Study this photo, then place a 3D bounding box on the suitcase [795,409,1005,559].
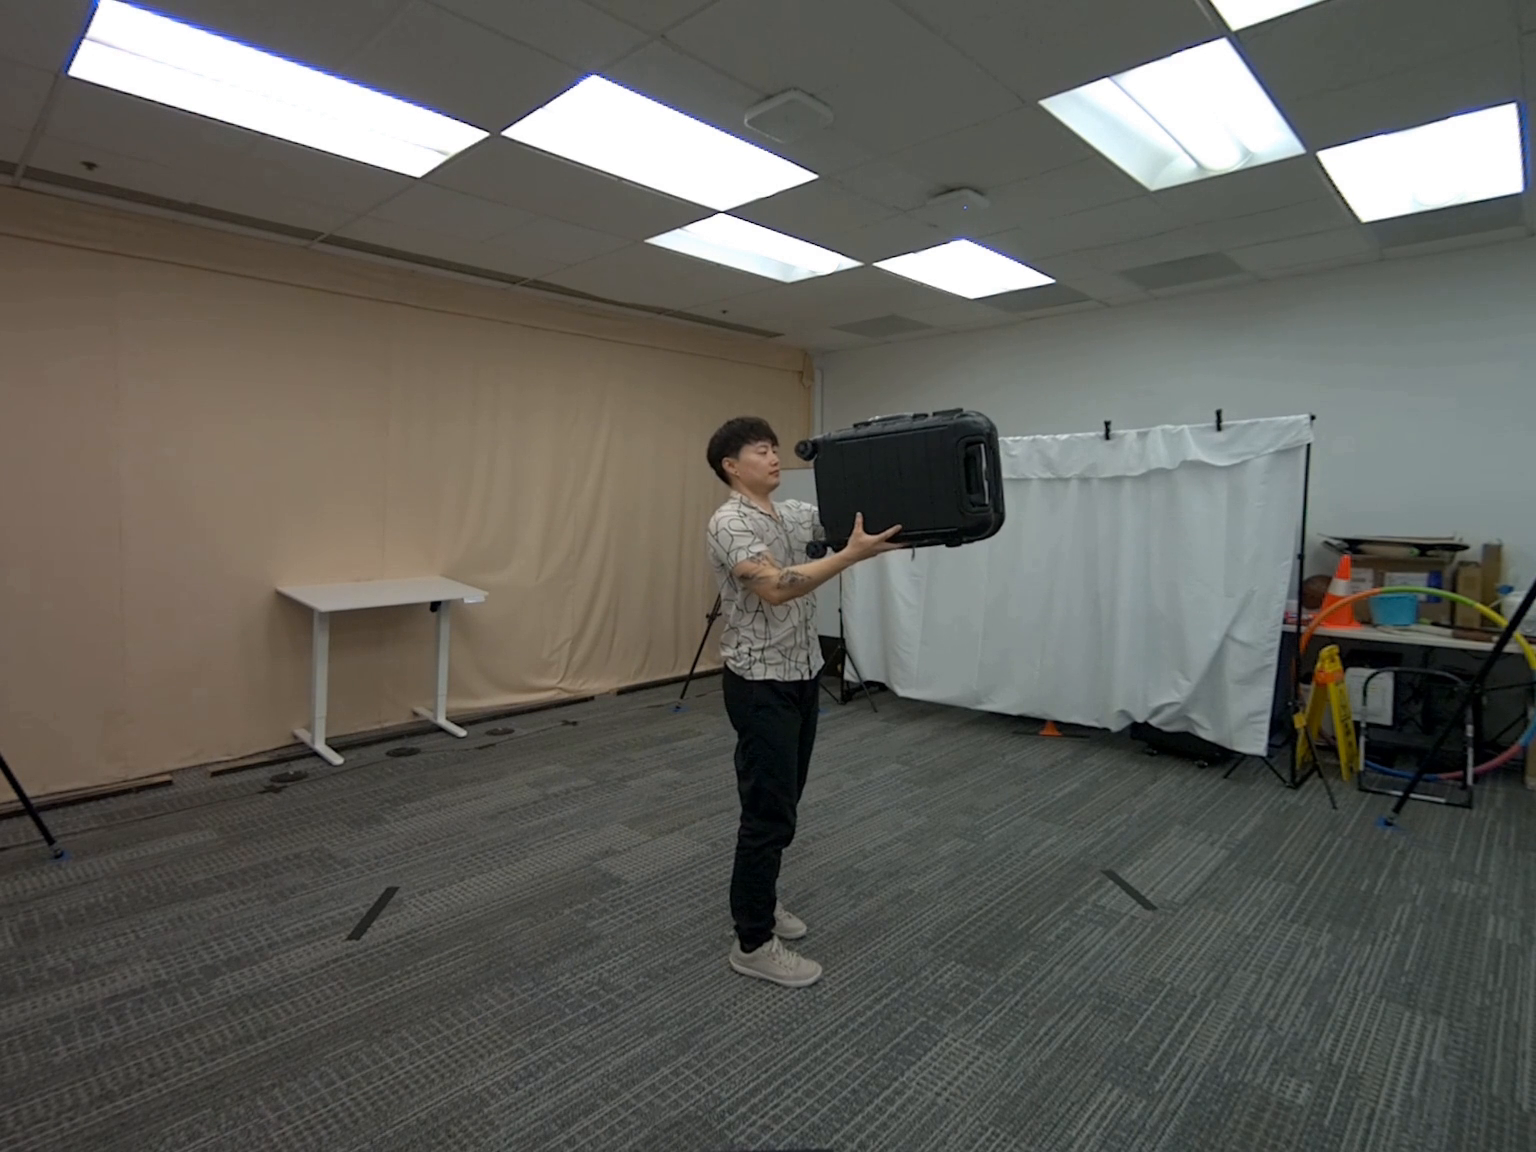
[{"bbox_3d":[0.398,-0.265,2.418,0.563,0.375,0.242,-6,2,29],"label":"suitcase"}]
